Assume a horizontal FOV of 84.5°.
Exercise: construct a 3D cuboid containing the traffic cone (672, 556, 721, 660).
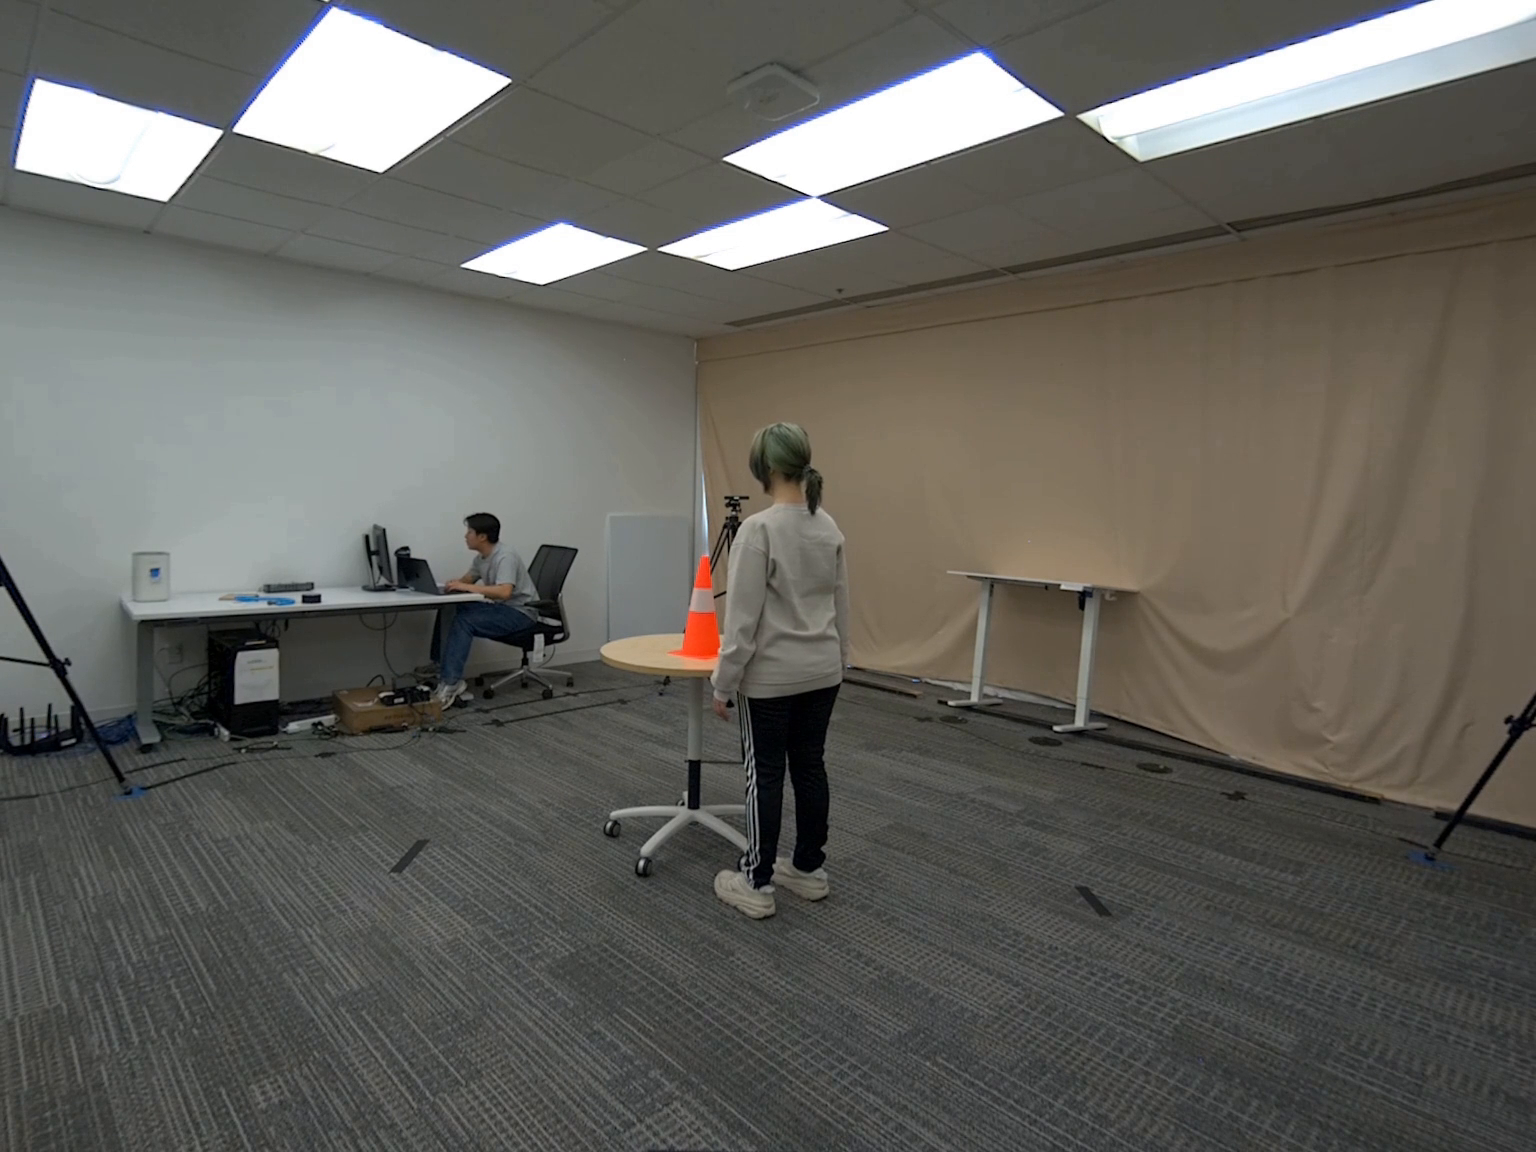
[{"bbox_3d":[-0.259,0.116,3.274,0.208,0.383,0.200,5,4,35],"label":"traffic cone"}]
